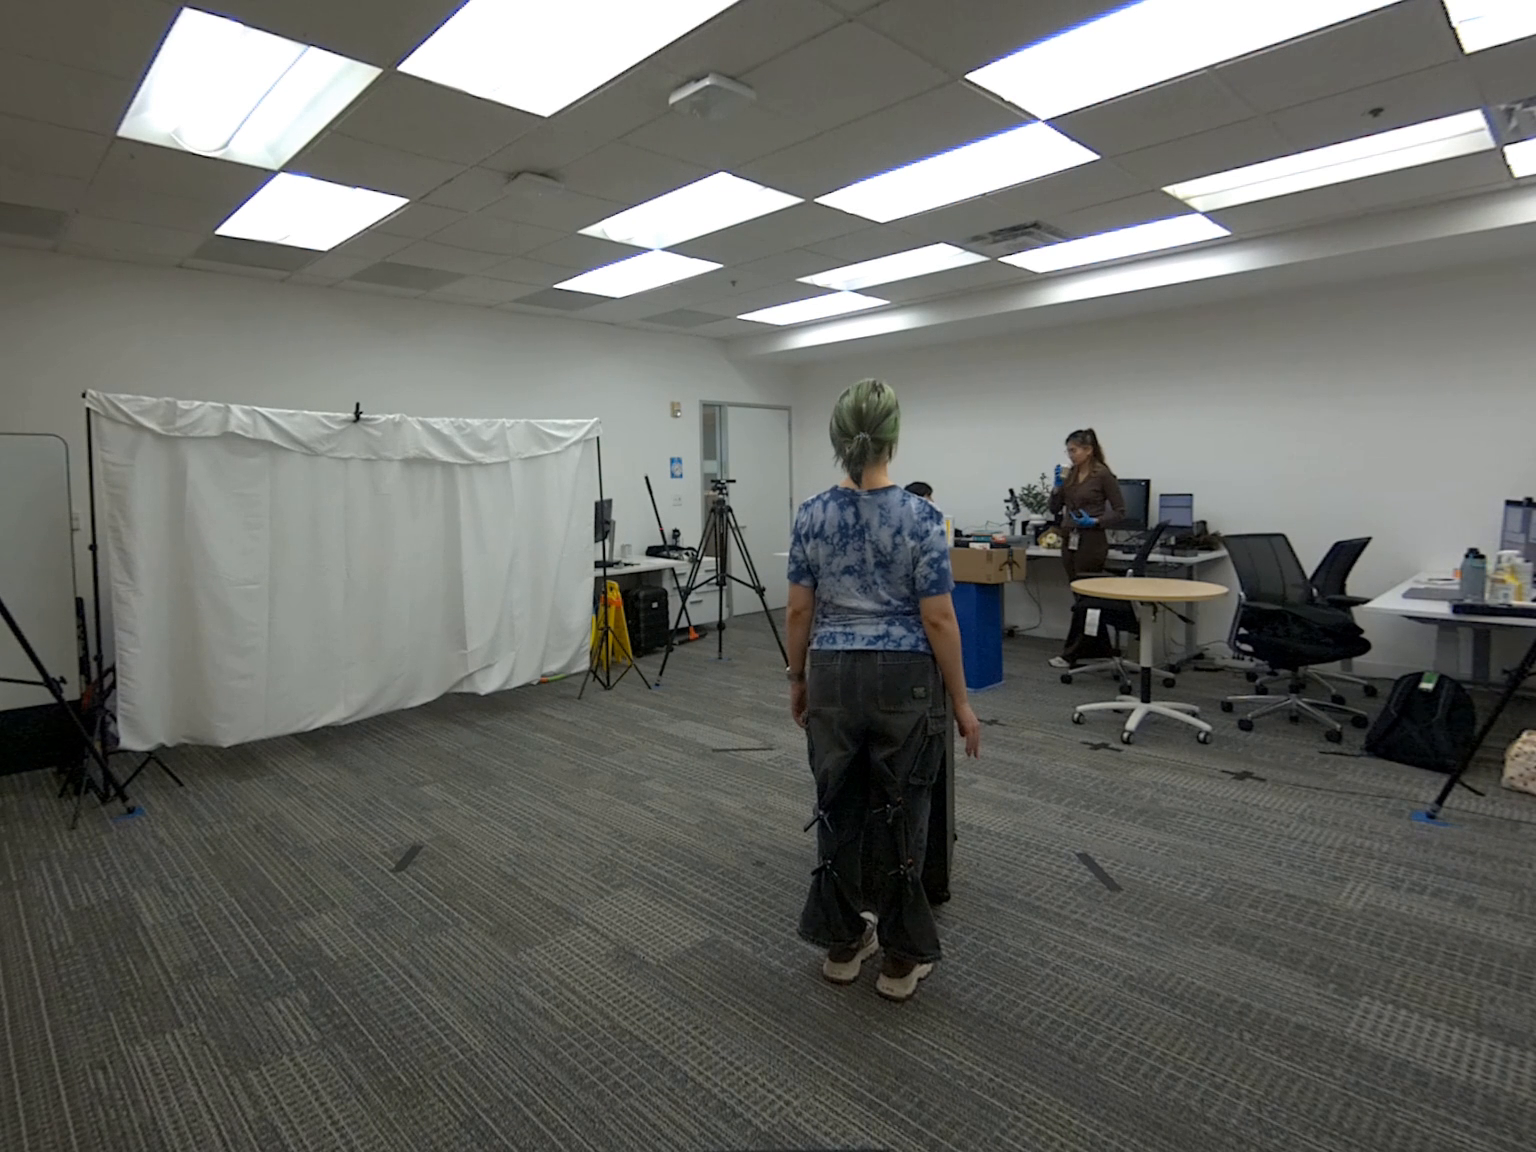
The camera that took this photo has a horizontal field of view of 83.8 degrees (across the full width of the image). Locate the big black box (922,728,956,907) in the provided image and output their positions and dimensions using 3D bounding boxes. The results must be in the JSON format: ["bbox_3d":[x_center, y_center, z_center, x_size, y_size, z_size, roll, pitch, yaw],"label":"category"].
[{"bbox_3d":[0.442,0.638,2.918,0.403,0.858,0.515,-1,4,17],"label":"big black box"}]
